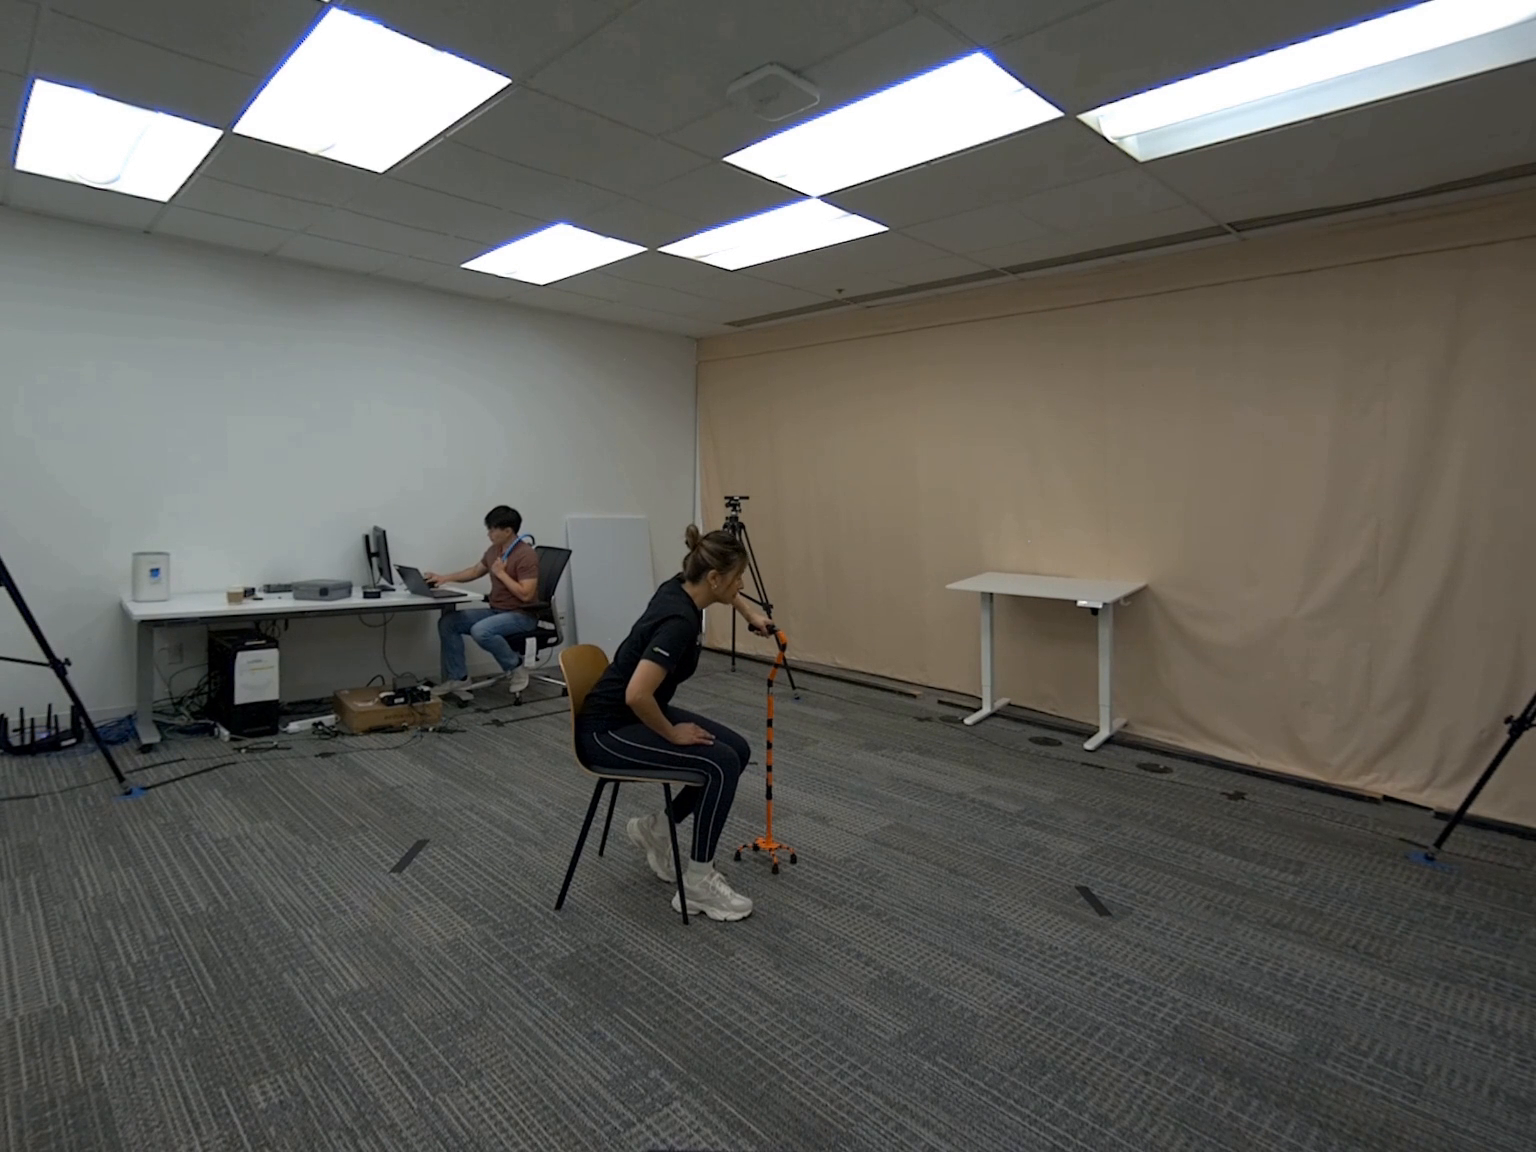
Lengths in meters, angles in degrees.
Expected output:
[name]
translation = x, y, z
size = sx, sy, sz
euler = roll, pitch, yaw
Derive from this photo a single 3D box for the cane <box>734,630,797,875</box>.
[cane]
translation = -0.009, 0.648, 3.208
size = 0.211, 0.906, 0.148
euler = 2, 4, 38
